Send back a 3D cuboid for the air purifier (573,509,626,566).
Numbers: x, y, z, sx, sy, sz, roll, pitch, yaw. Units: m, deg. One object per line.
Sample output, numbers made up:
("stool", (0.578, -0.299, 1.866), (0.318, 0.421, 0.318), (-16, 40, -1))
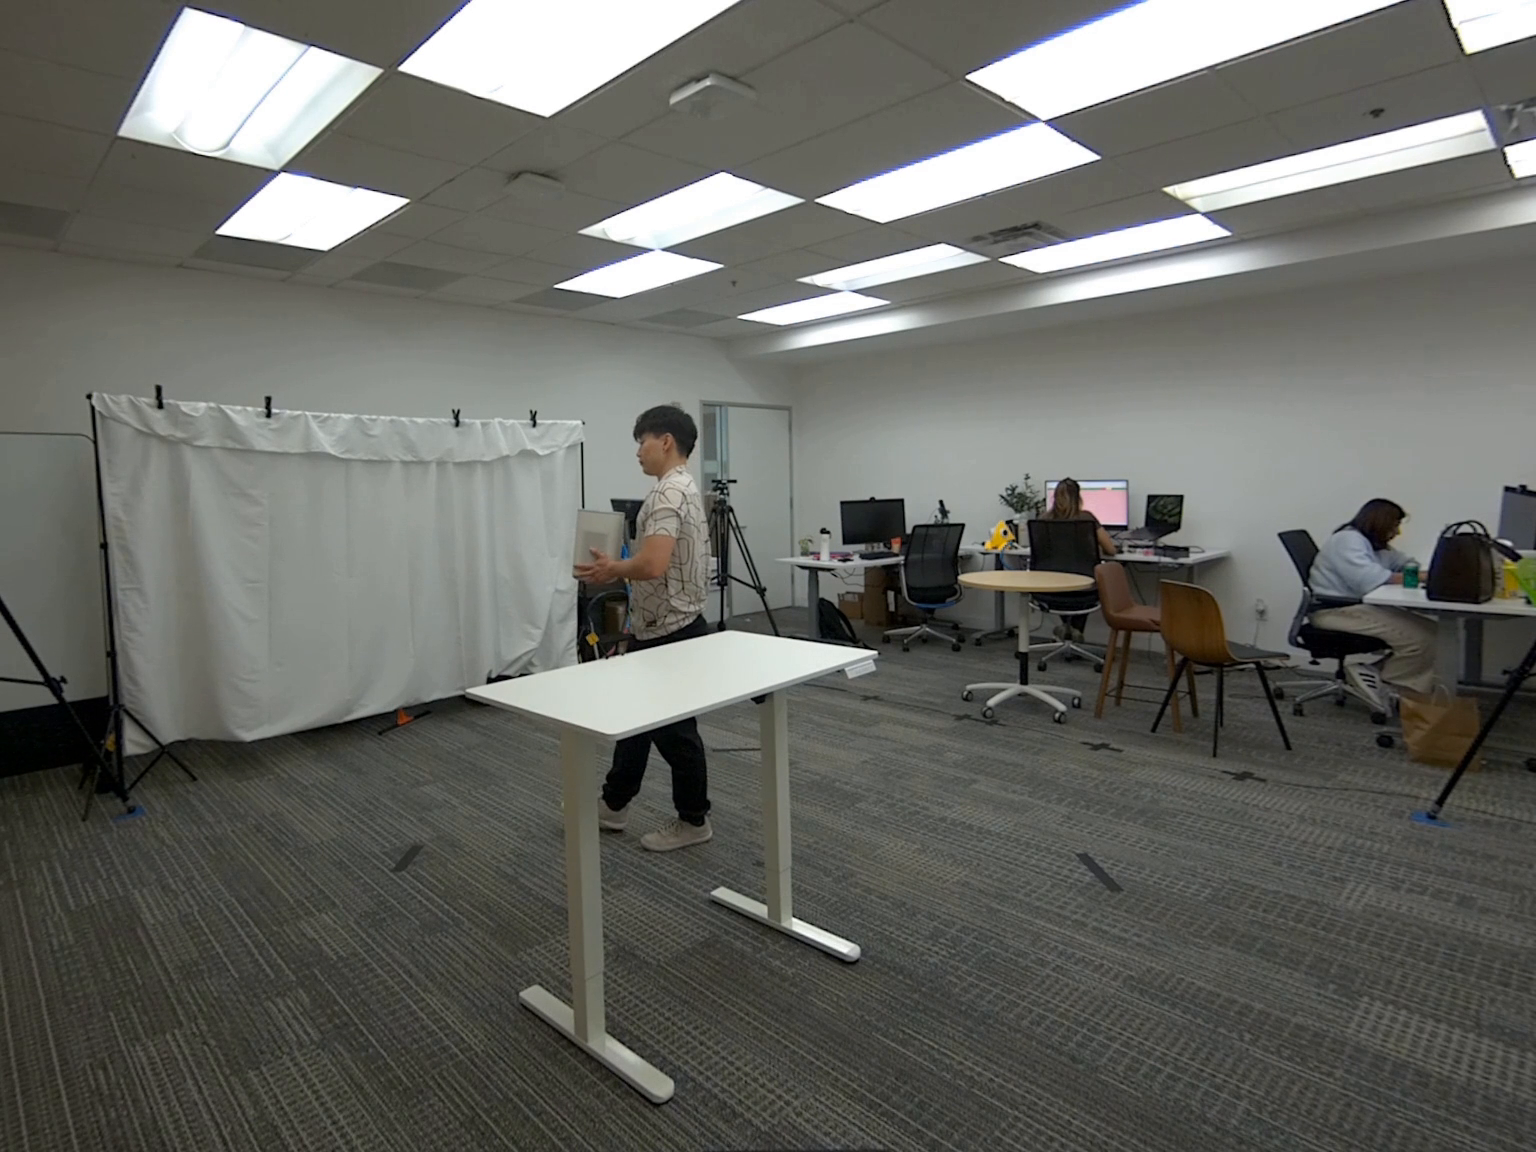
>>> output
("air purifier", (-0.637, -0.117, 3.243), (0.172, 0.265, 0.171), (6, 3, 1))
